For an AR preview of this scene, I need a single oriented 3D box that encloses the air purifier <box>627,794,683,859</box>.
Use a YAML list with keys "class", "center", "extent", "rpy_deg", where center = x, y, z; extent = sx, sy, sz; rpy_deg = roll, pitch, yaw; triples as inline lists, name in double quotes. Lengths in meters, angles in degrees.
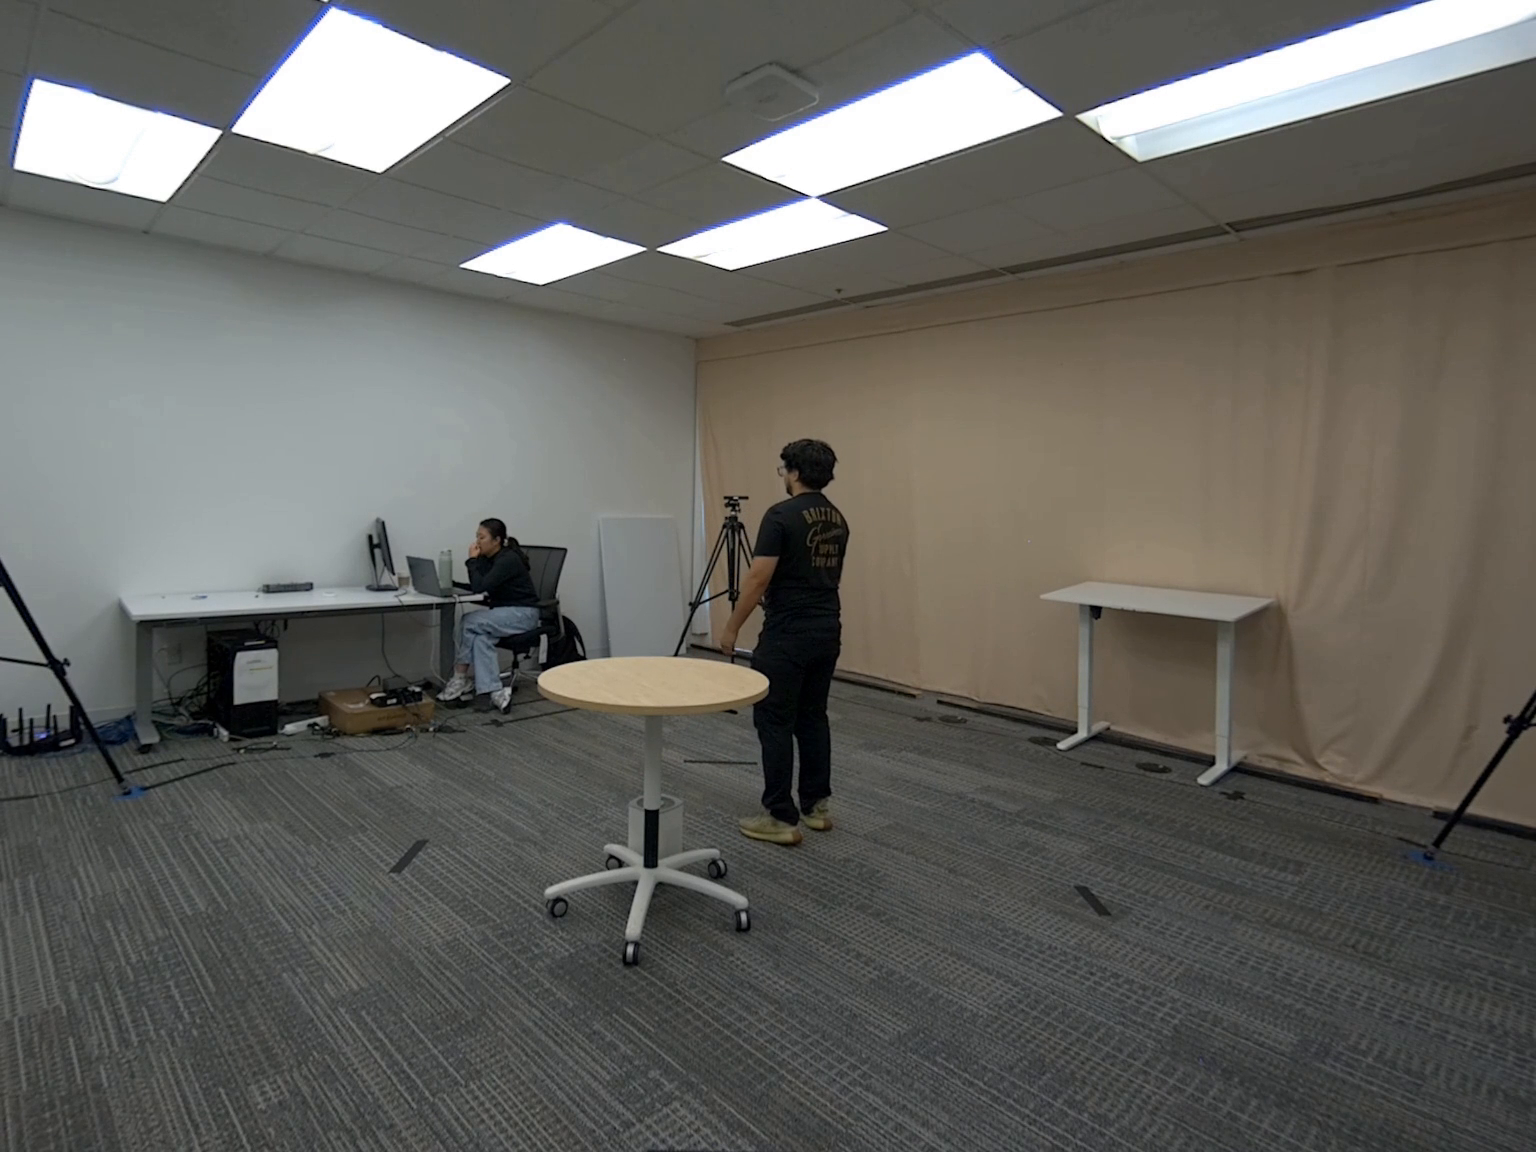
- class: "air purifier"
  center: [-0.421, 0.965, 3.106]
  extent: [0.175, 0.264, 0.168]
  rpy_deg: [4, 5, 34]
